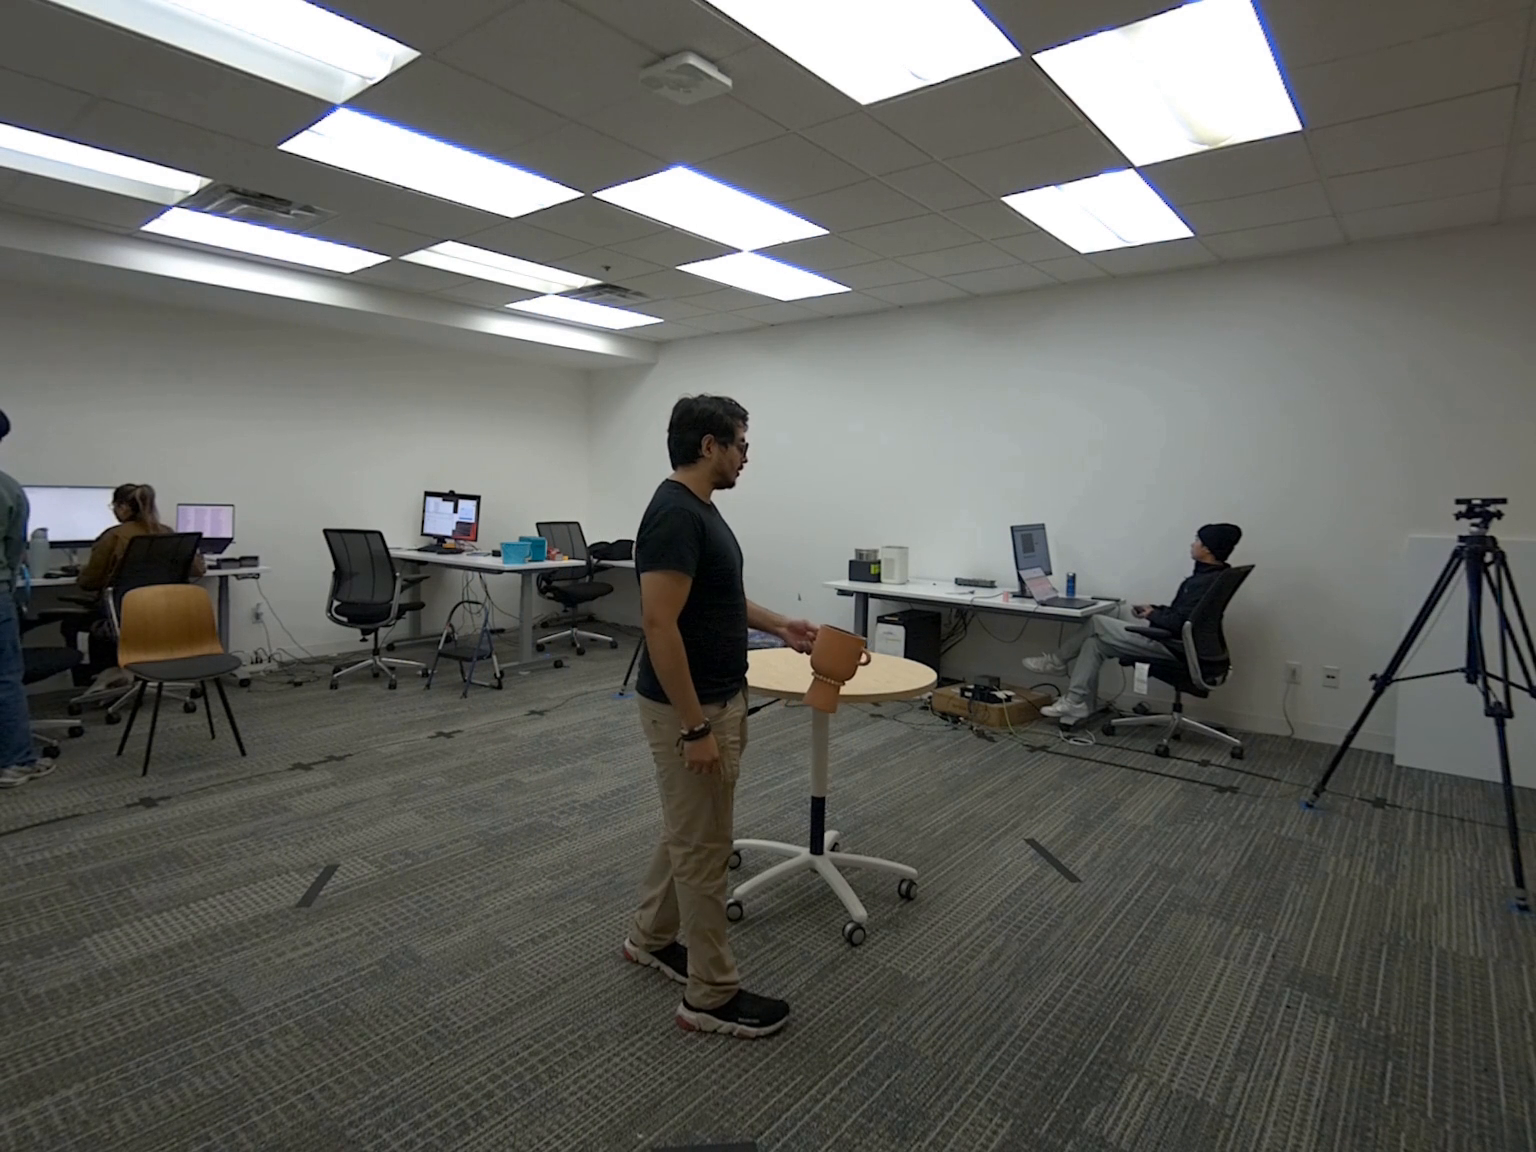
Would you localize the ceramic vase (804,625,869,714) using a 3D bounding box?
[{"bbox_3d":[0.169,0.256,2.338,0.132,0.219,0.162,18,1,-18],"label":"ceramic vase"}]
